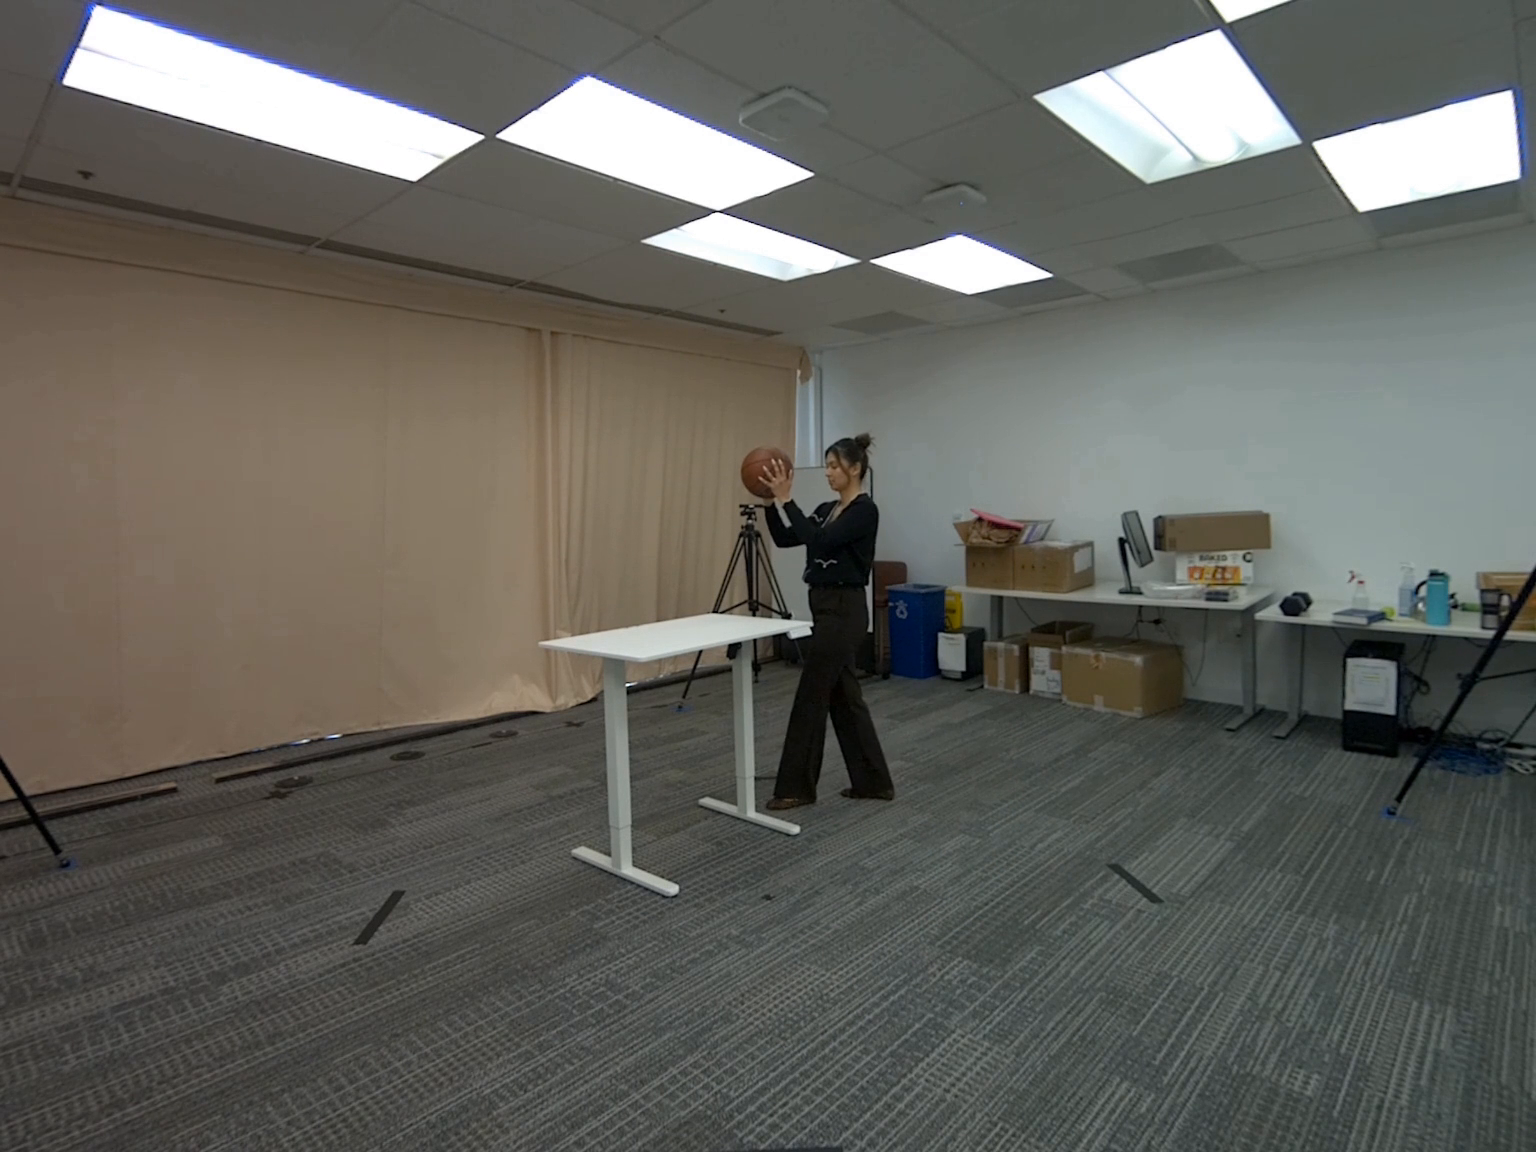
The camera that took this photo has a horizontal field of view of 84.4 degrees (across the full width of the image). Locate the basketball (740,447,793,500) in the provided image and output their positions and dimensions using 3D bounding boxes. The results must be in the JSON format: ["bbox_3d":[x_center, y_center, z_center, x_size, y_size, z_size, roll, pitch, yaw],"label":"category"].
[{"bbox_3d":[-0.009,-0.469,3.780,0.236,0.235,0.237,-1,4,-2],"label":"basketball"}]
